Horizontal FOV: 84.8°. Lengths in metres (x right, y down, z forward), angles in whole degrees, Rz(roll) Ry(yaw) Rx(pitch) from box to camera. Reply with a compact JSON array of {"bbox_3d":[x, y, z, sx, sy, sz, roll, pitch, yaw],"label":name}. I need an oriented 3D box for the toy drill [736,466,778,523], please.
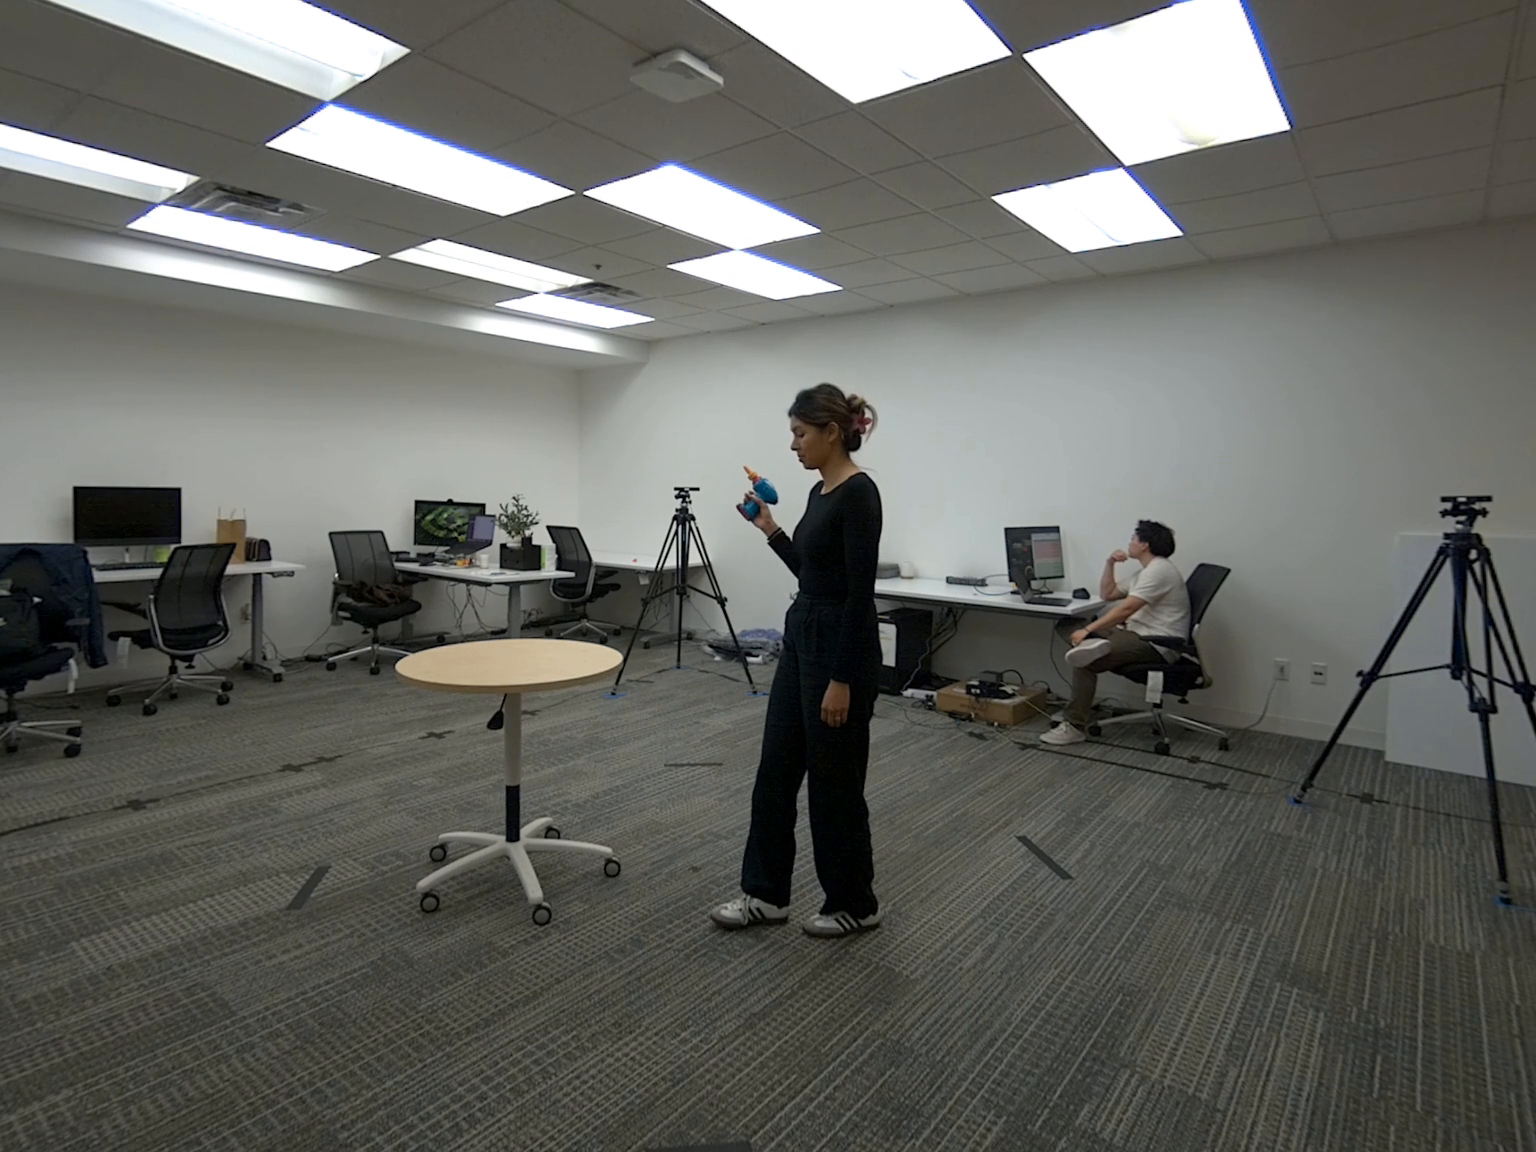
[{"bbox_3d":[-0.068,-0.287,2.890,0.146,0.170,0.061,-41,1,-14],"label":"toy drill"}]
